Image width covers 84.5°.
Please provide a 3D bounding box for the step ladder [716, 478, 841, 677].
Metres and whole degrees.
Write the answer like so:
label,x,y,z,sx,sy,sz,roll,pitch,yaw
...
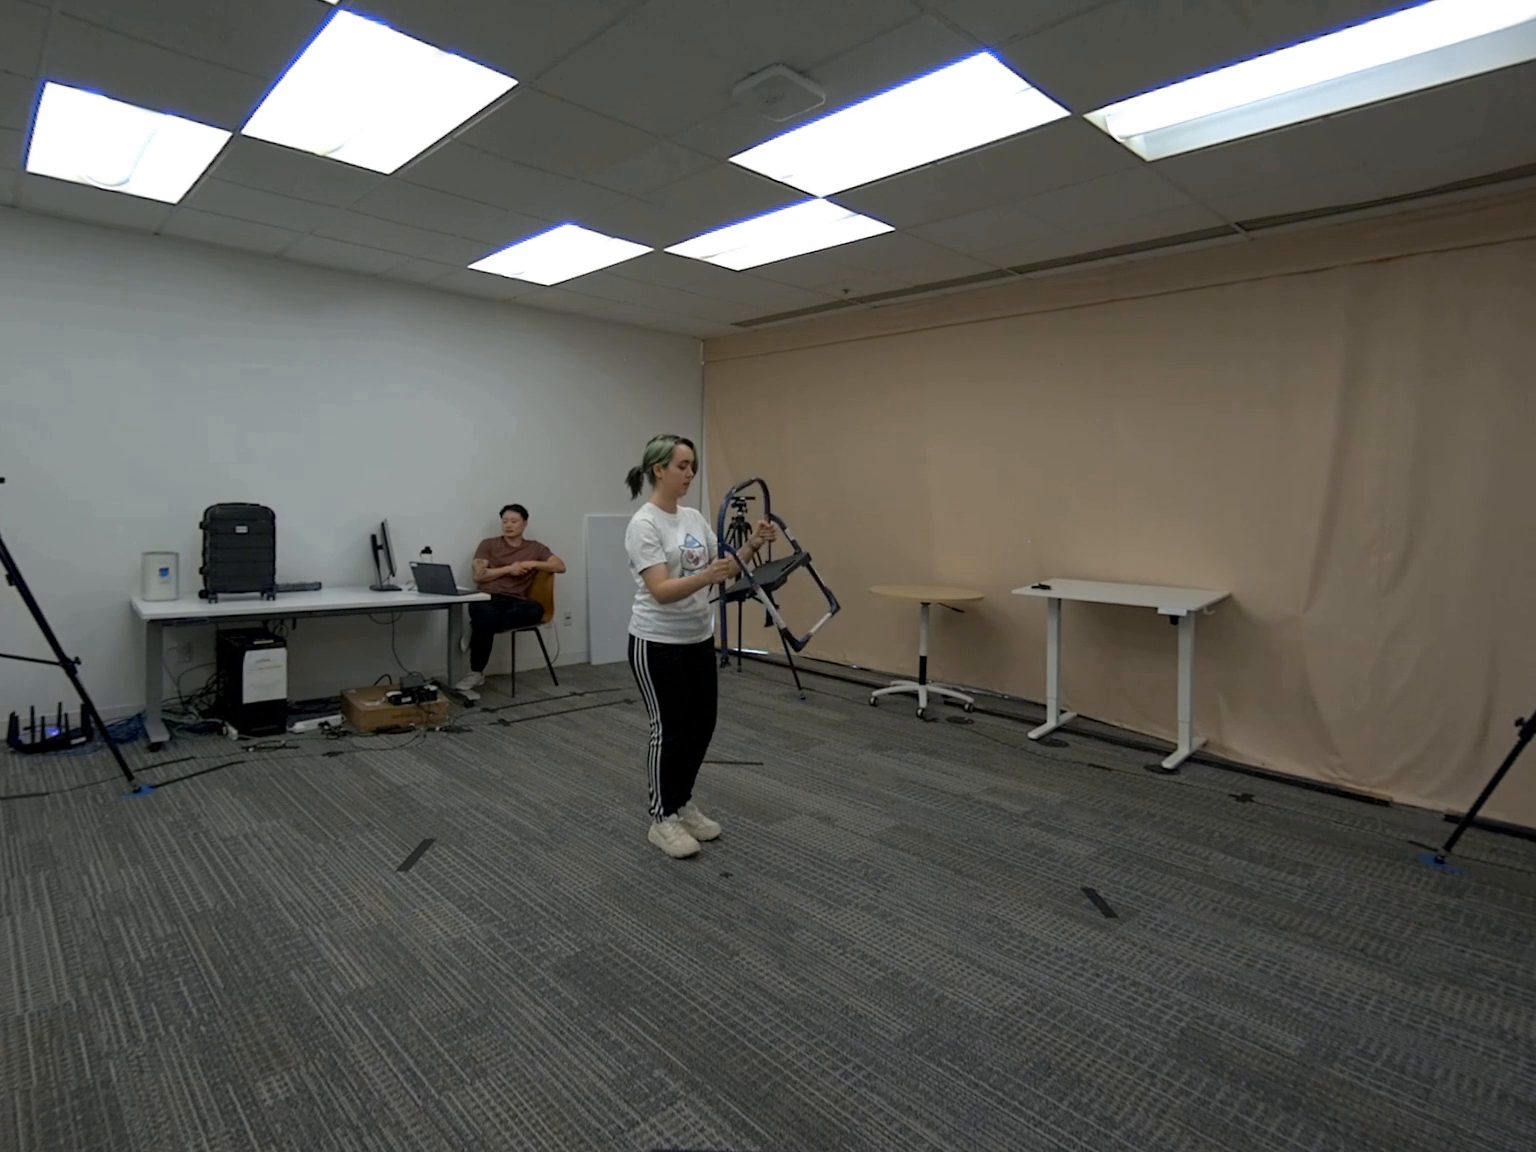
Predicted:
label,x,y,z,sx,sy,sz,roll,pitch,yaw
step ladder,-0.056,-0.048,3.131,0.354,0.601,0.428,-15,11,30
